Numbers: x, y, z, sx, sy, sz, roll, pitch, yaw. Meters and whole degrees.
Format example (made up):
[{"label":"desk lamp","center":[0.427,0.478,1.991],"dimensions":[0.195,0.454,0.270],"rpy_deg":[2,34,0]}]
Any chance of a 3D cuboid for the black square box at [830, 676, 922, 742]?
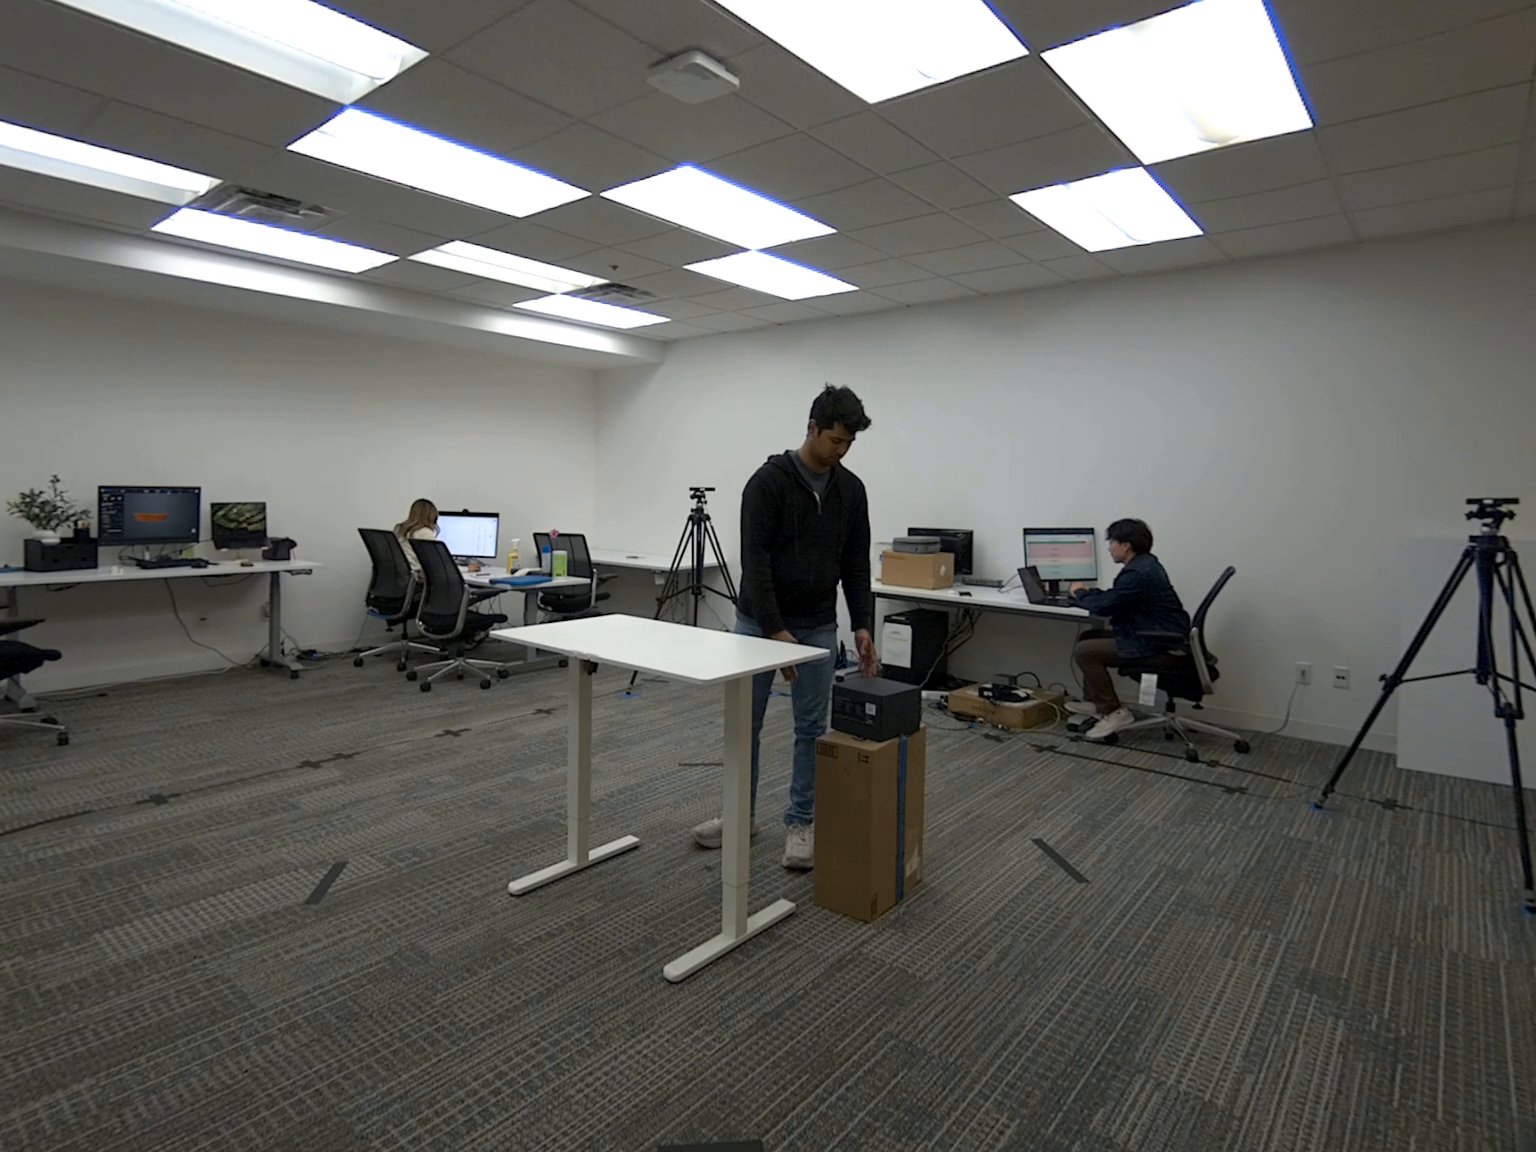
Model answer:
[{"label":"black square box","center":[0.369,0.452,2.936],"dimensions":[0.221,0.155,0.224],"rpy_deg":[-3,6,-45]}]
